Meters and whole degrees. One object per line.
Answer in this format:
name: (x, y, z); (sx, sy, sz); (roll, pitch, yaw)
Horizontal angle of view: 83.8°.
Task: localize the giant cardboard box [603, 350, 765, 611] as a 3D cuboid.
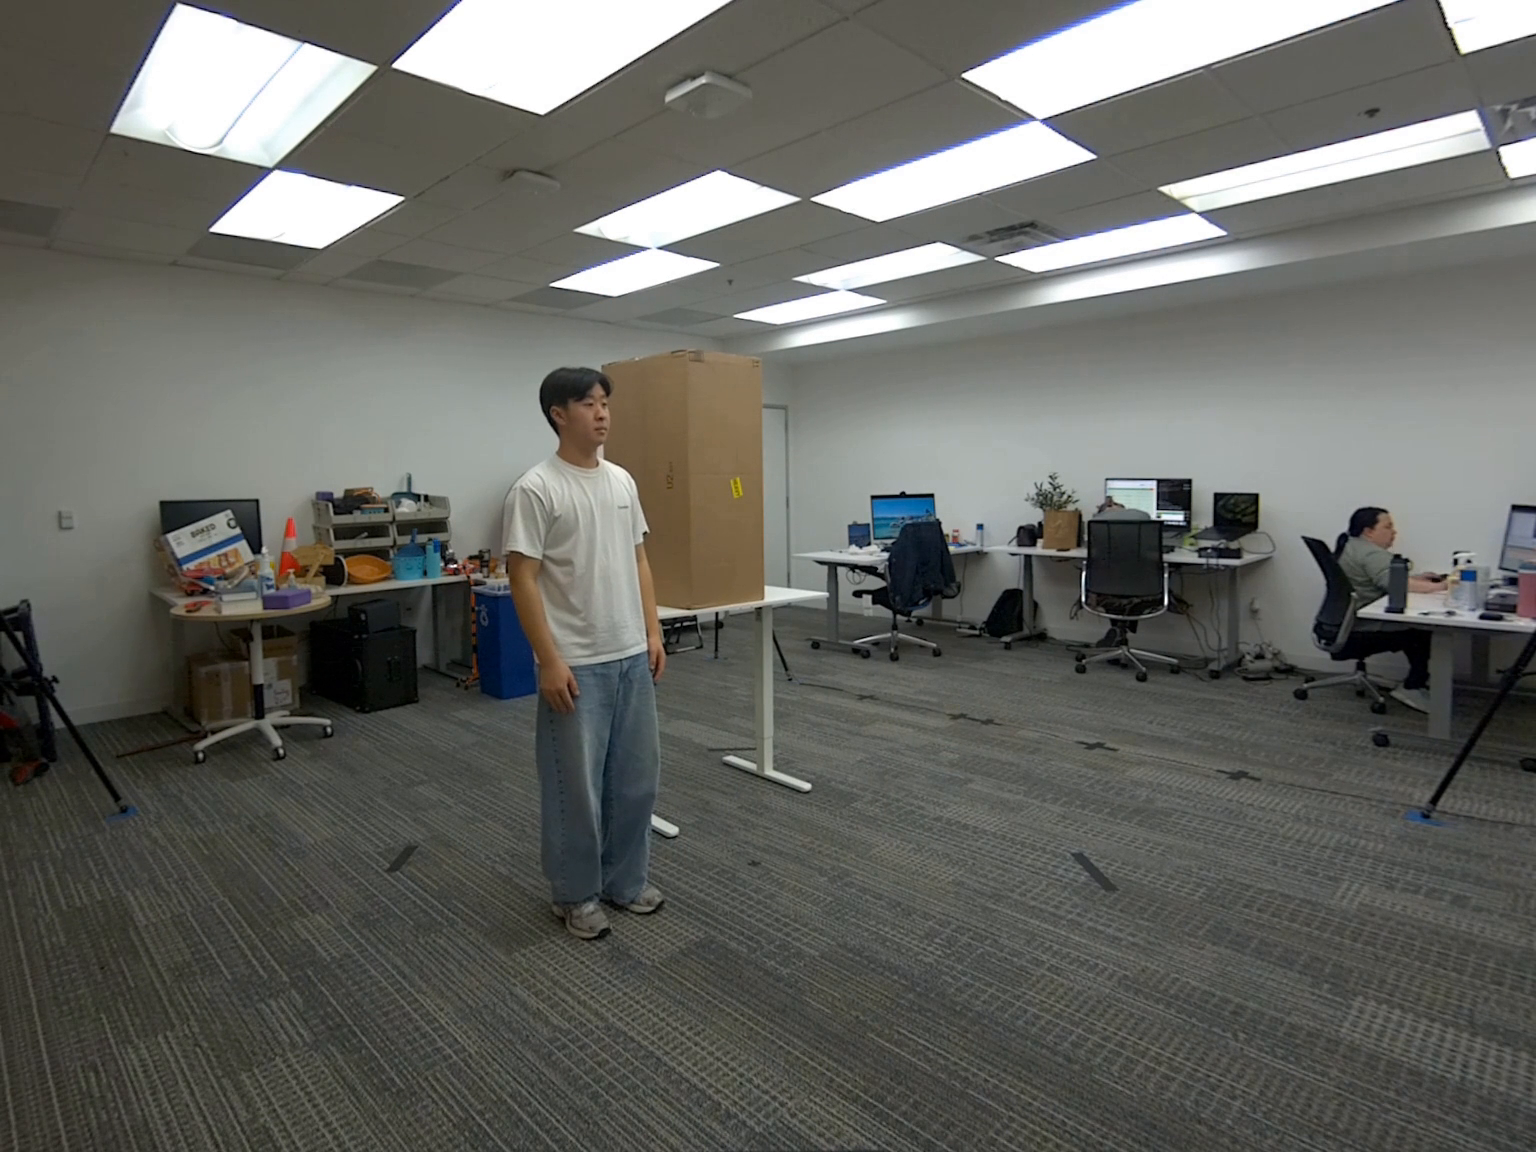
giant cardboard box: (-0.369, -0.405, 3.691); (0.415, 1.023, 0.595); (-4, 4, -44)
